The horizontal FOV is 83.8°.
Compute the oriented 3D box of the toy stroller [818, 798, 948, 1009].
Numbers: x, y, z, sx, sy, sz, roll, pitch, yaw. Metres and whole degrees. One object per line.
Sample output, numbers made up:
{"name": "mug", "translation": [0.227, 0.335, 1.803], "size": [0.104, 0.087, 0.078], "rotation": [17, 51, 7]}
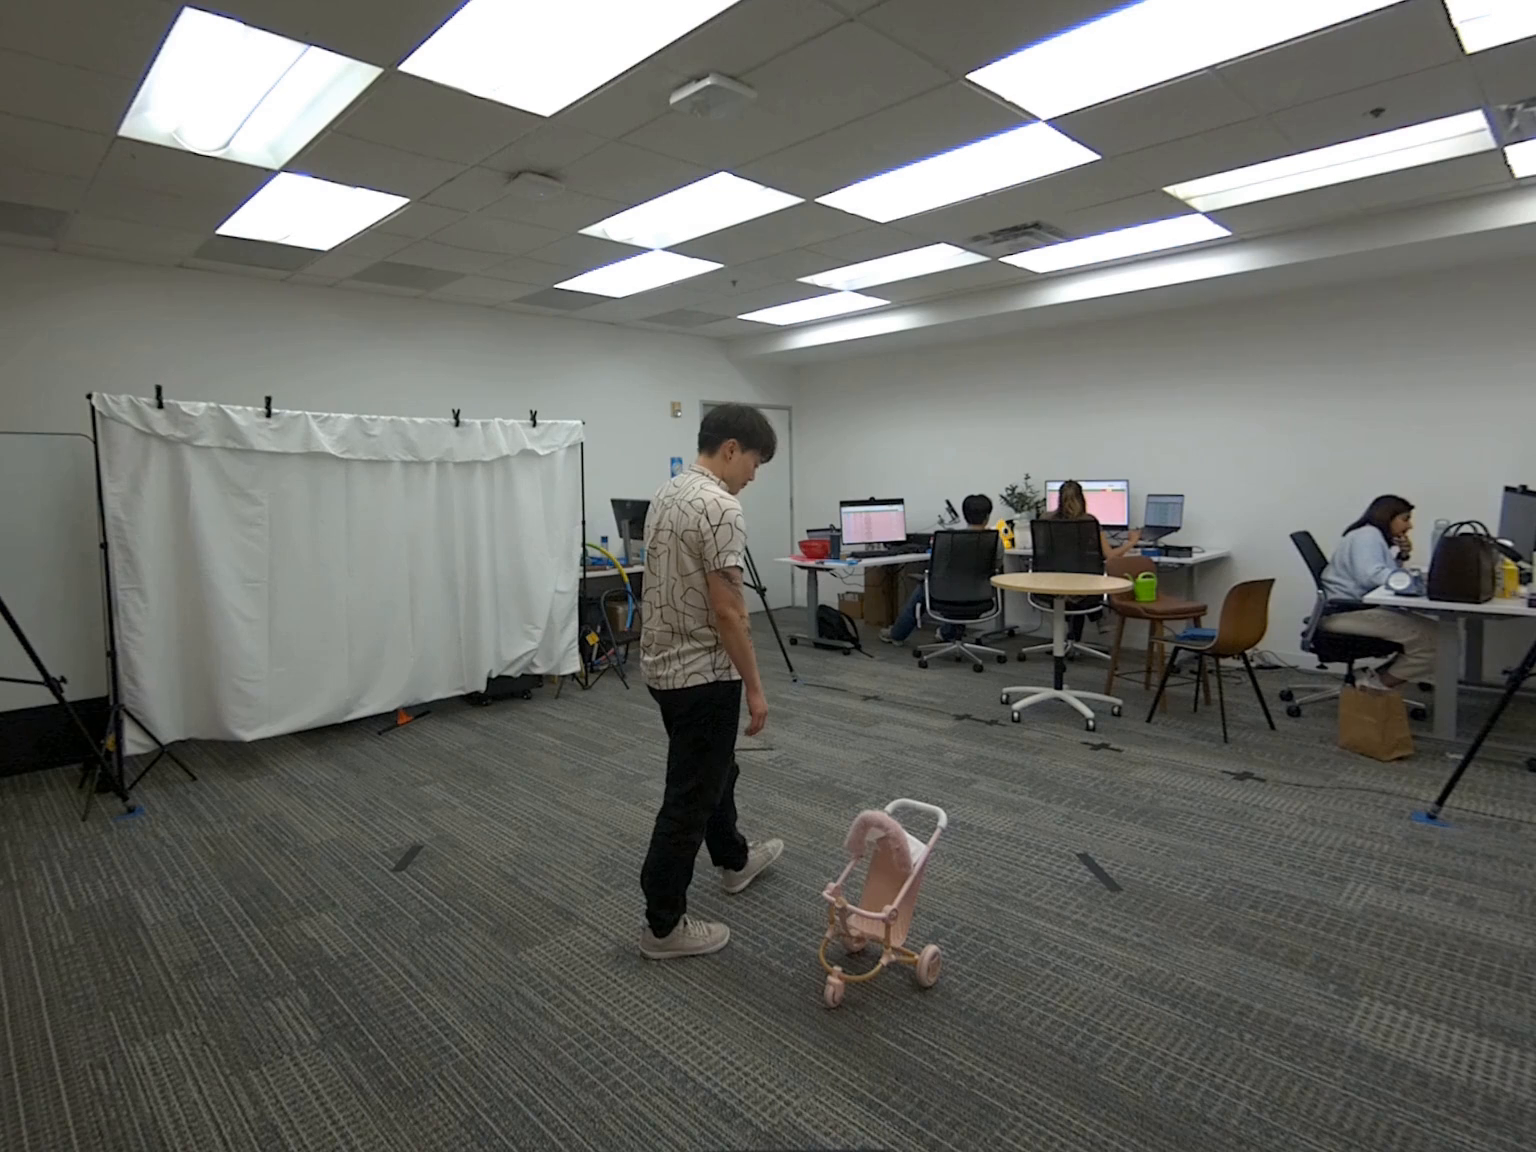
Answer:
{"name": "toy stroller", "translation": [0.305, 0.897, 2.383], "size": [0.329, 0.538, 0.290], "rotation": [16, -8, -40]}
